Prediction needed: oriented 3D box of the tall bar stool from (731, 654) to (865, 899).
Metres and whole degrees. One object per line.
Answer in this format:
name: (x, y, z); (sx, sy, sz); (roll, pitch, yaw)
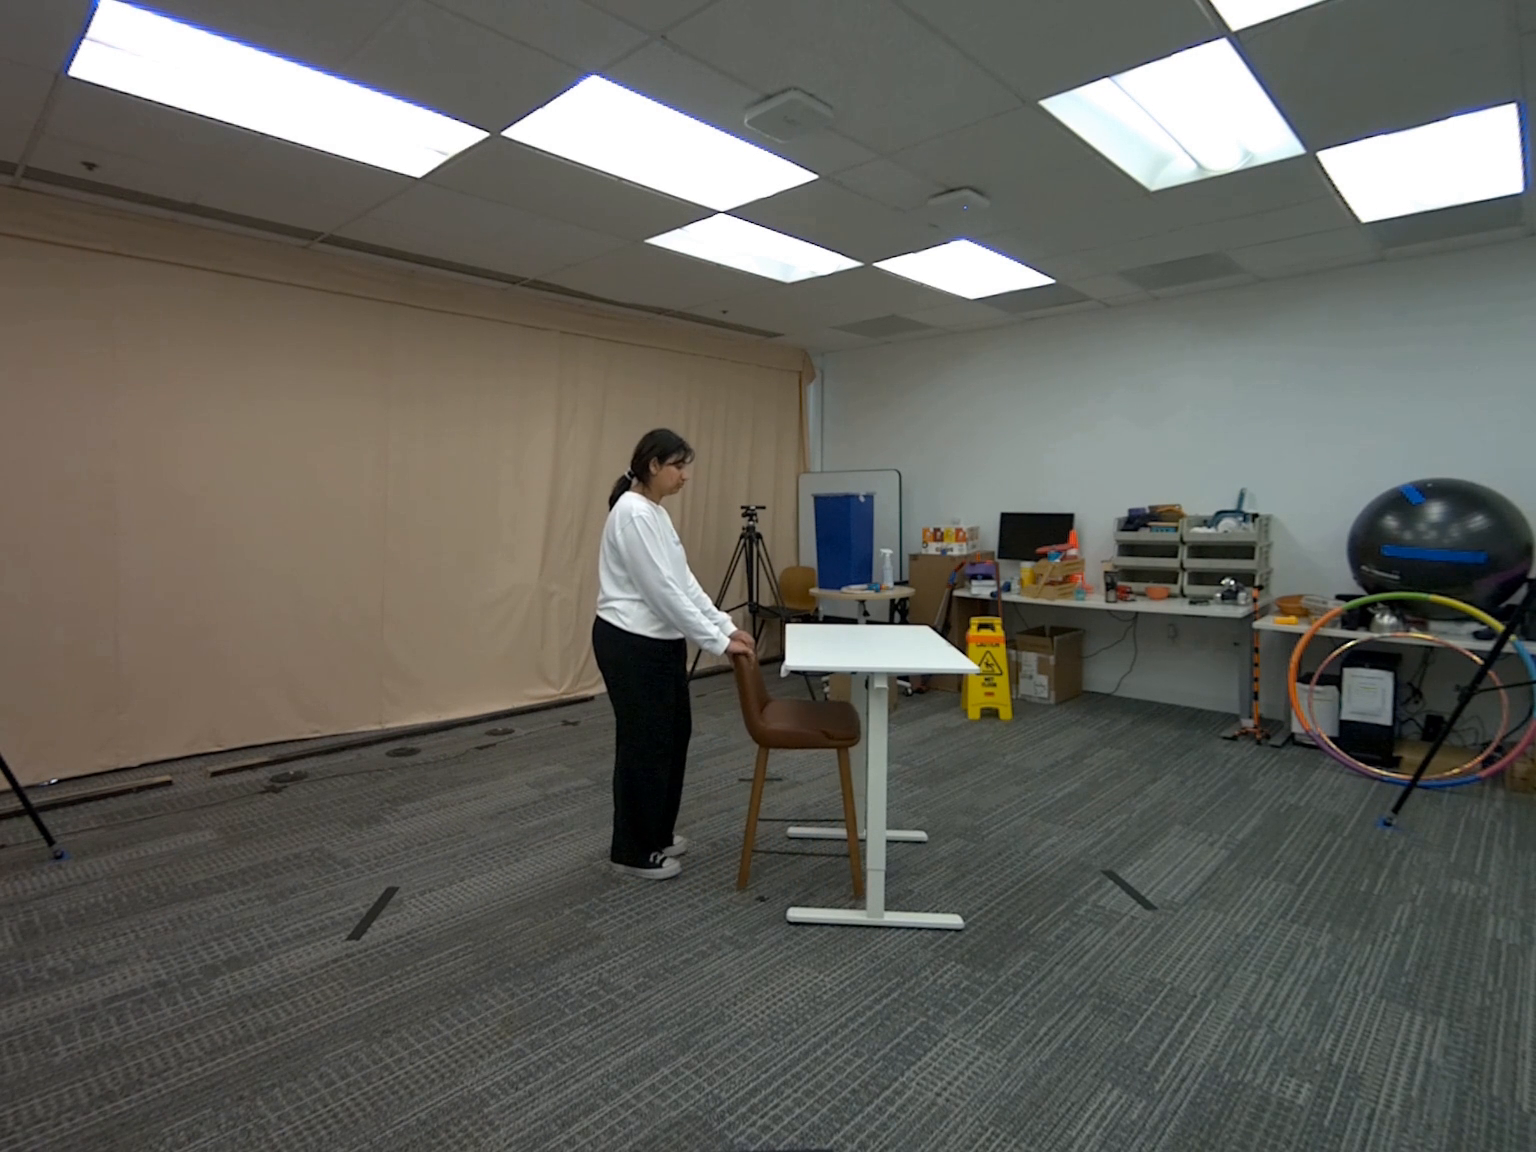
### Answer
tall bar stool: (0.120, 0.698, 3.181); (0.471, 0.887, 0.455); (-1, 4, 5)
